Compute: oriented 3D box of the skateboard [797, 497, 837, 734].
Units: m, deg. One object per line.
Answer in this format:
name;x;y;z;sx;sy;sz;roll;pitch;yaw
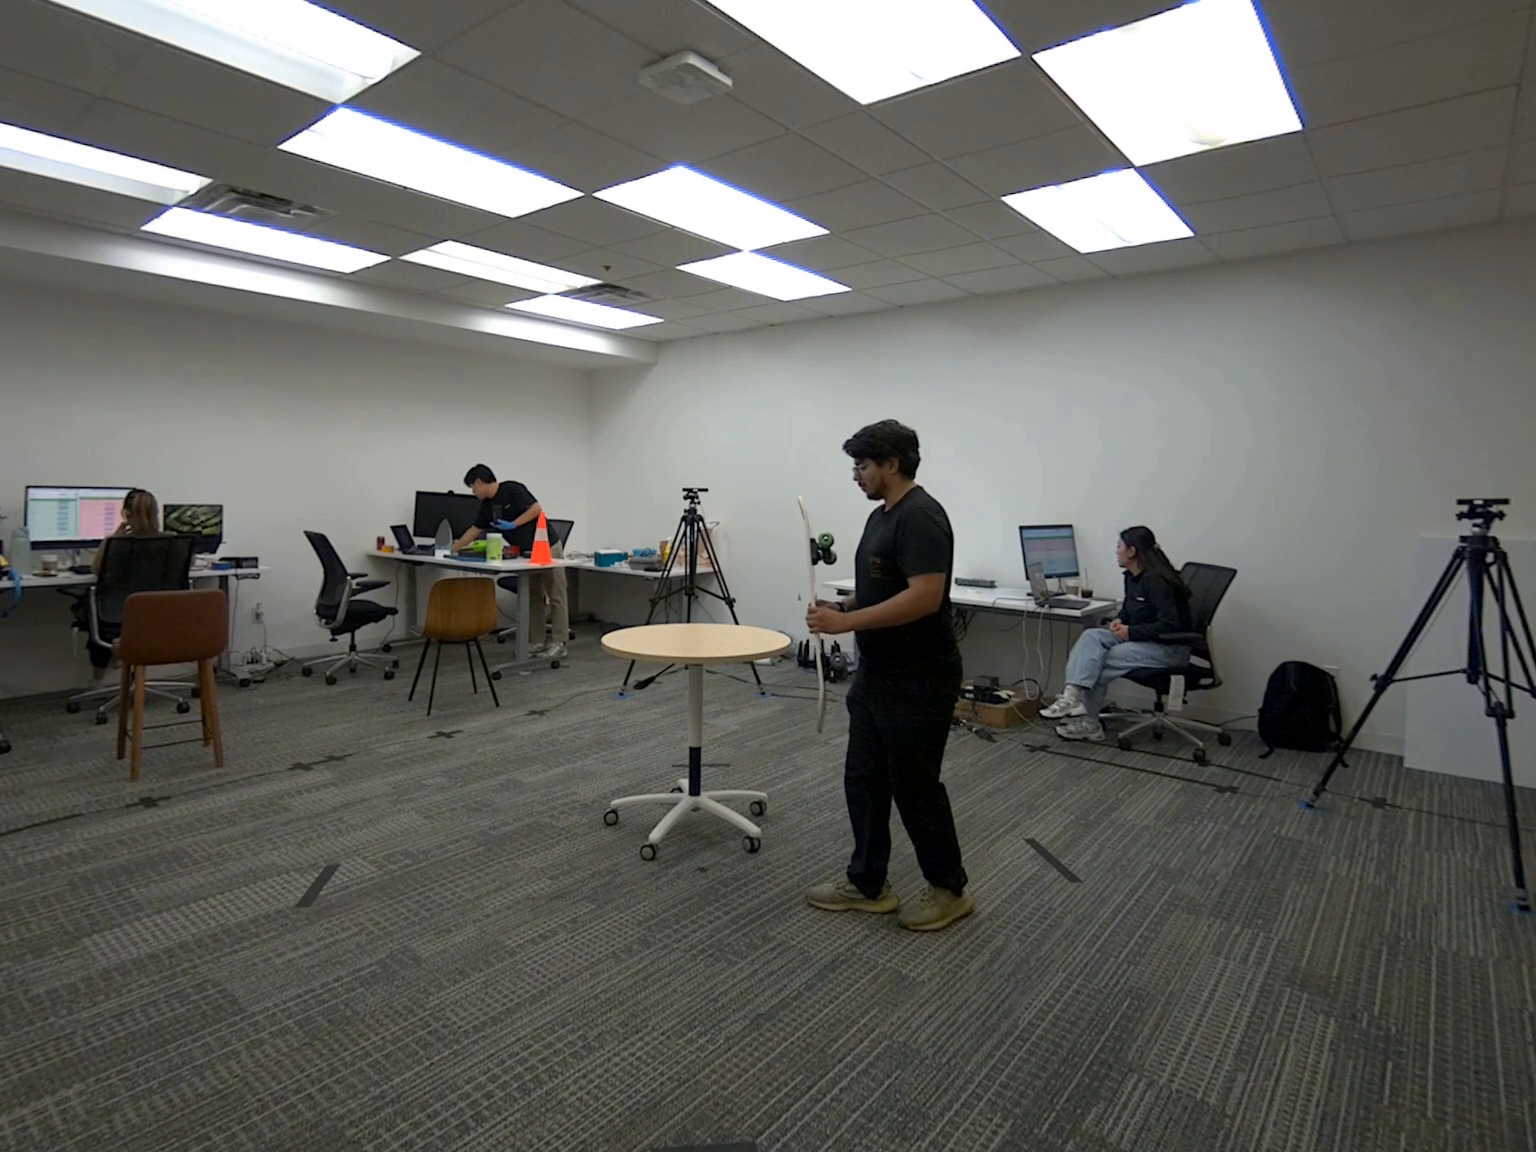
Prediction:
skateboard;0.179;0.100;2.736;0.111;0.802;0.188;-6;-23;7
